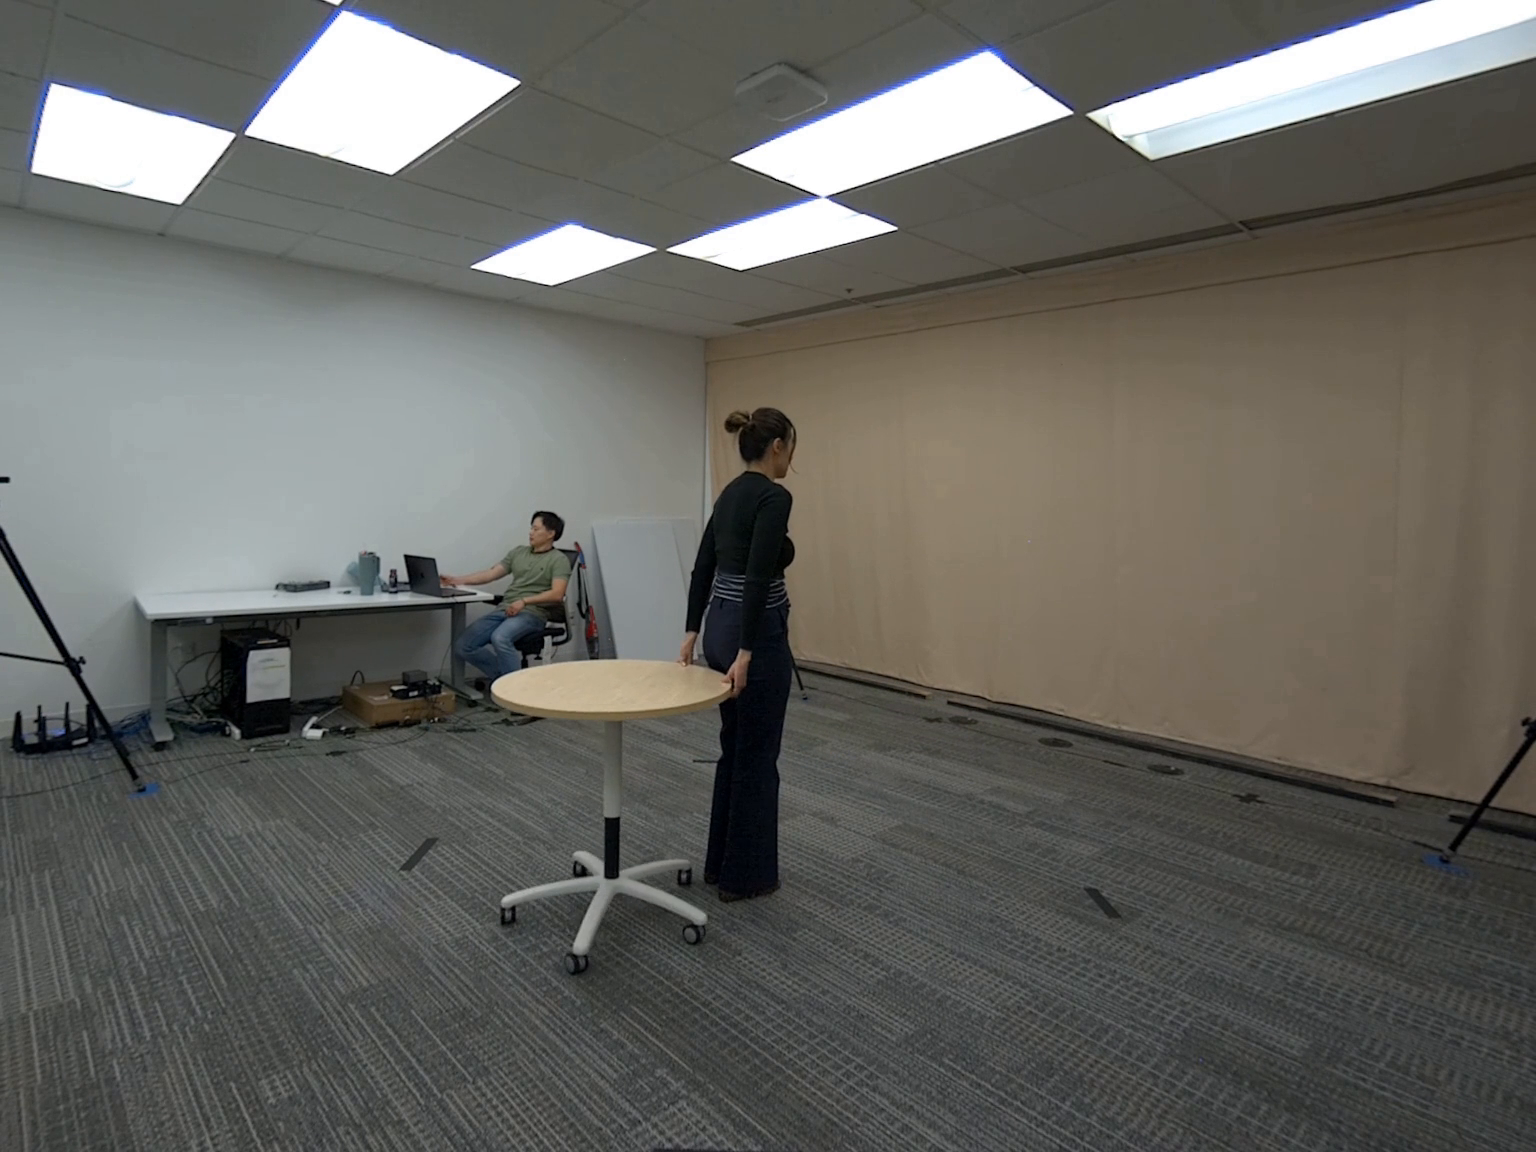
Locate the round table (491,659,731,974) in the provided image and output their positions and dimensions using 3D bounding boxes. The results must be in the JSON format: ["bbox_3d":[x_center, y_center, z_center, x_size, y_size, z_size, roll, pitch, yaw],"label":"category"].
[{"bbox_3d":[-0.513,0.739,2.741,0.763,0.792,0.766,1,4,-1],"label":"round table"}]
